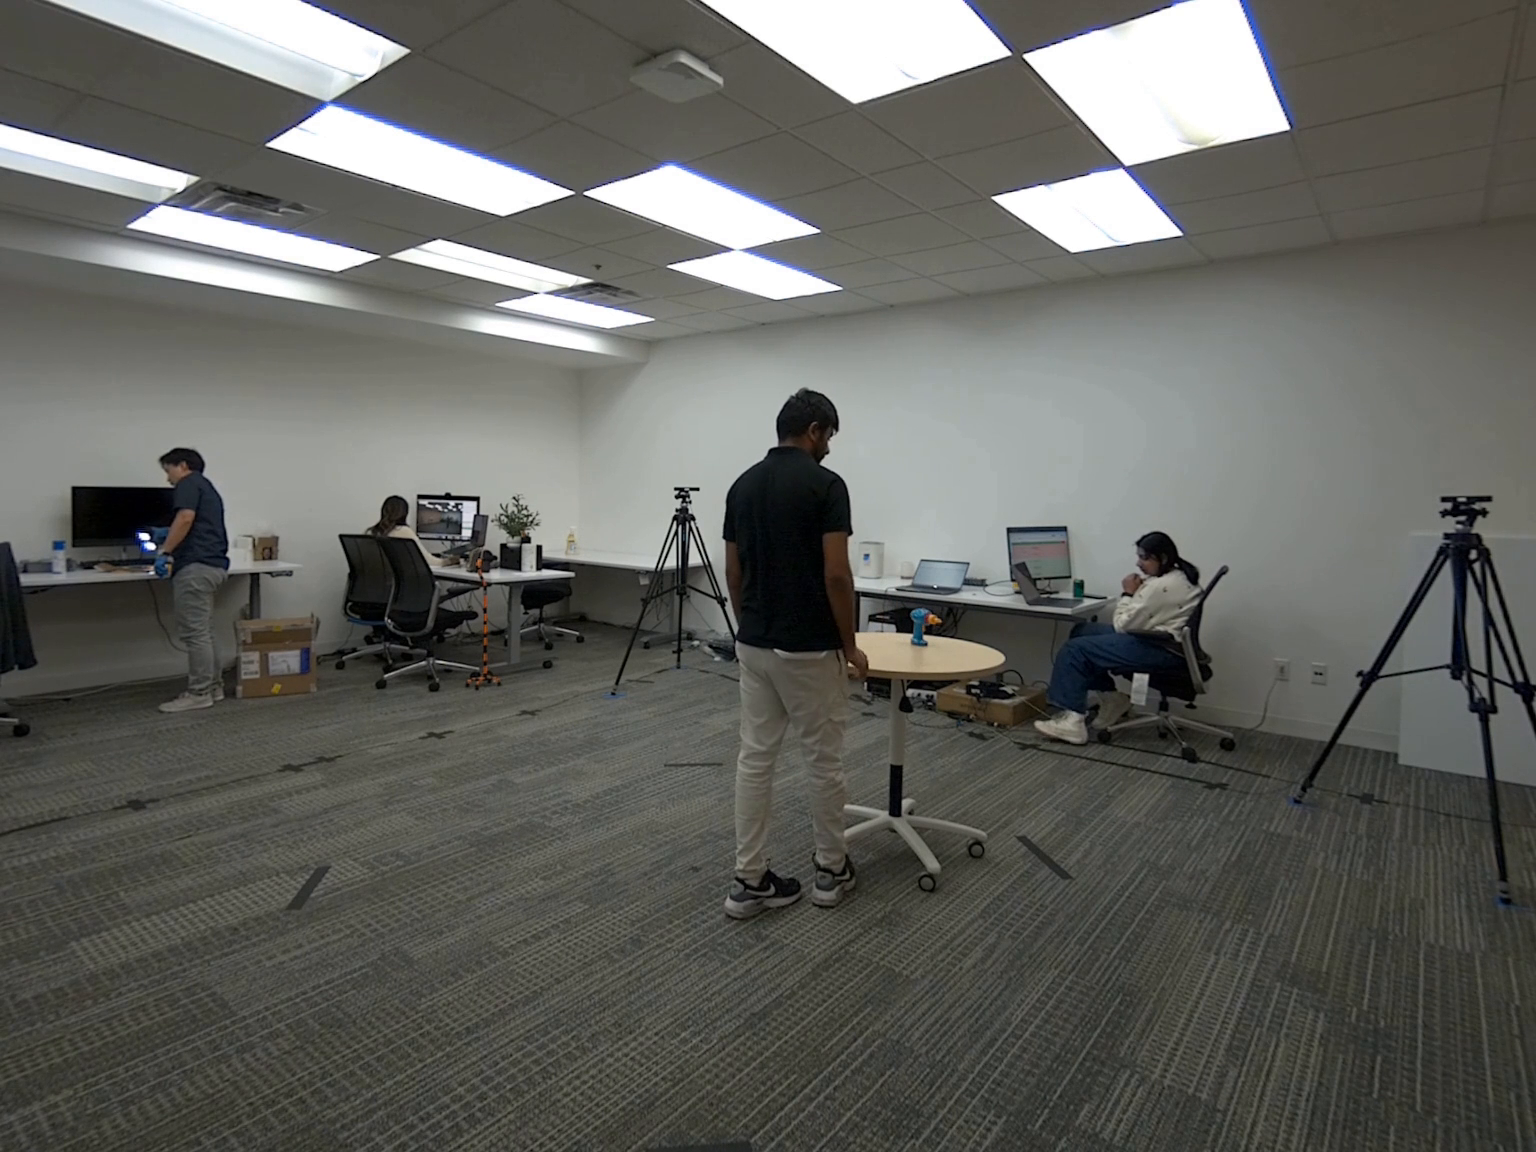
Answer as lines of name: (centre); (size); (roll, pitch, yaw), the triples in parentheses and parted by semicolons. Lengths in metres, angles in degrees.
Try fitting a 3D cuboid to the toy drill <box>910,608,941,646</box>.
toy drill: (0.621, 0.202, 3.349); (0.059, 0.145, 0.175); (2, 5, -30)
